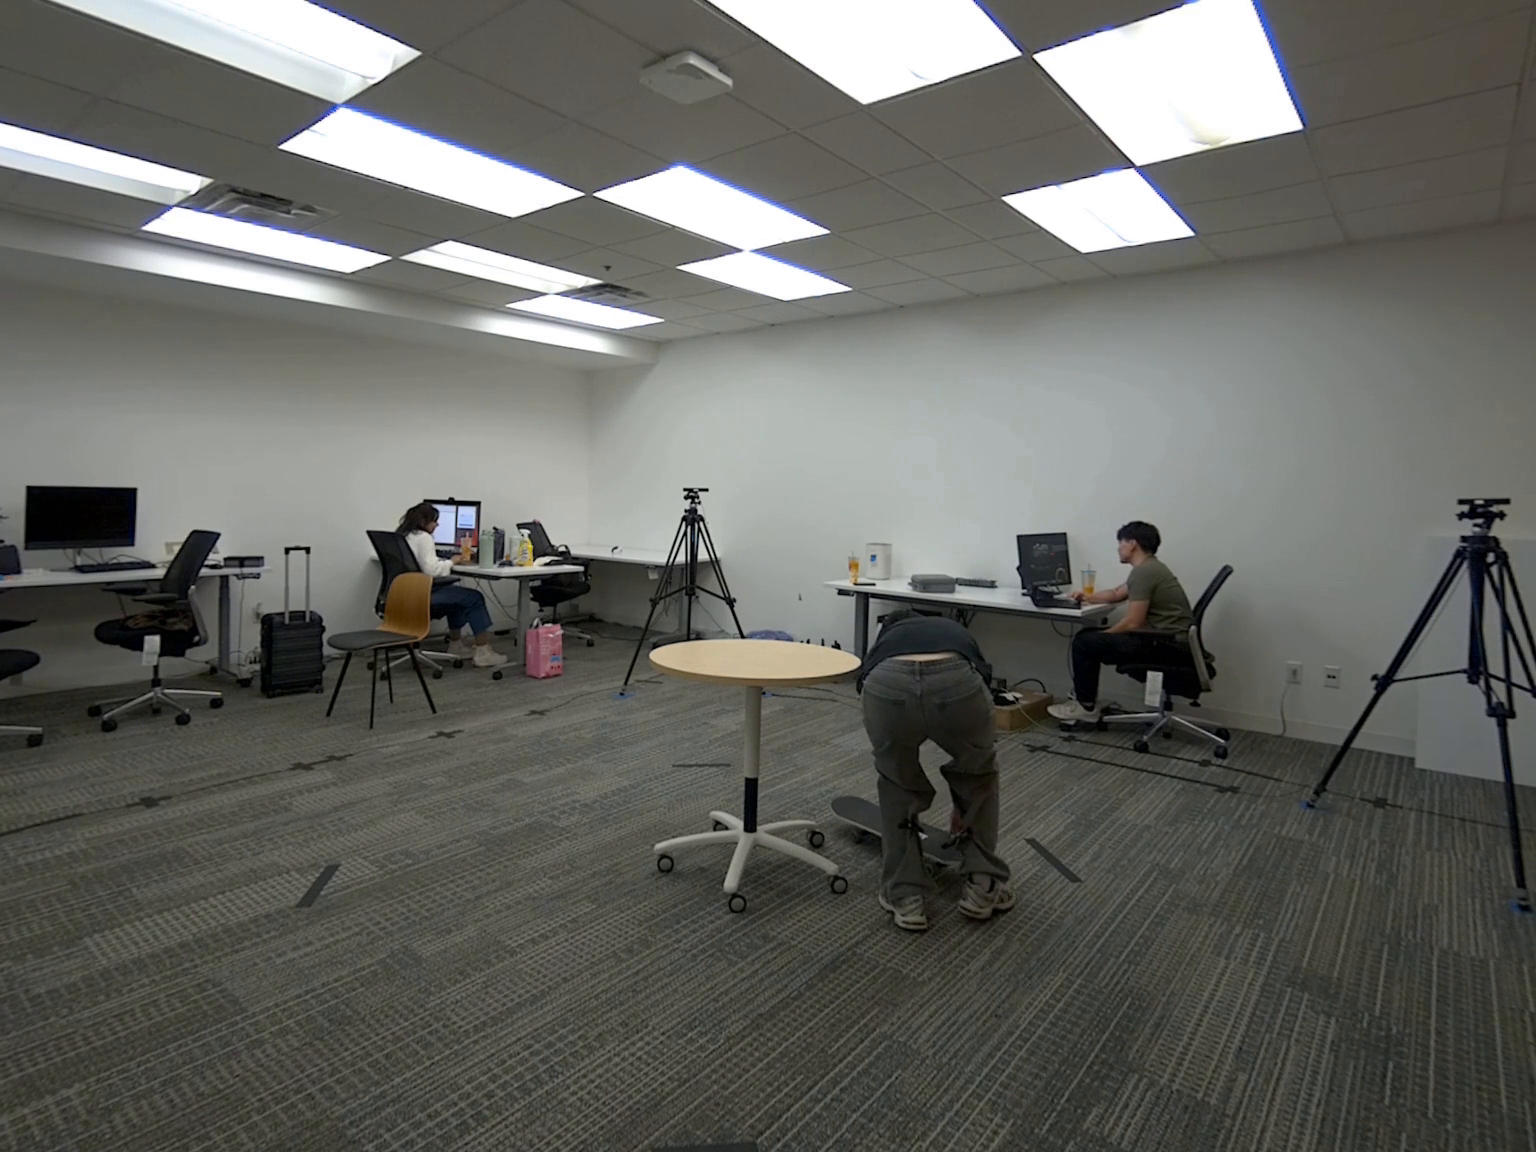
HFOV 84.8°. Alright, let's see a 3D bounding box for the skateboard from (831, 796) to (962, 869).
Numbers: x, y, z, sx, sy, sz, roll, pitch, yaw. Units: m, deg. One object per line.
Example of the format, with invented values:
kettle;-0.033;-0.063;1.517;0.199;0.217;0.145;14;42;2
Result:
skateboard;0.521;1.003;3.264;0.188;0.110;0.810;-7;6;-34
